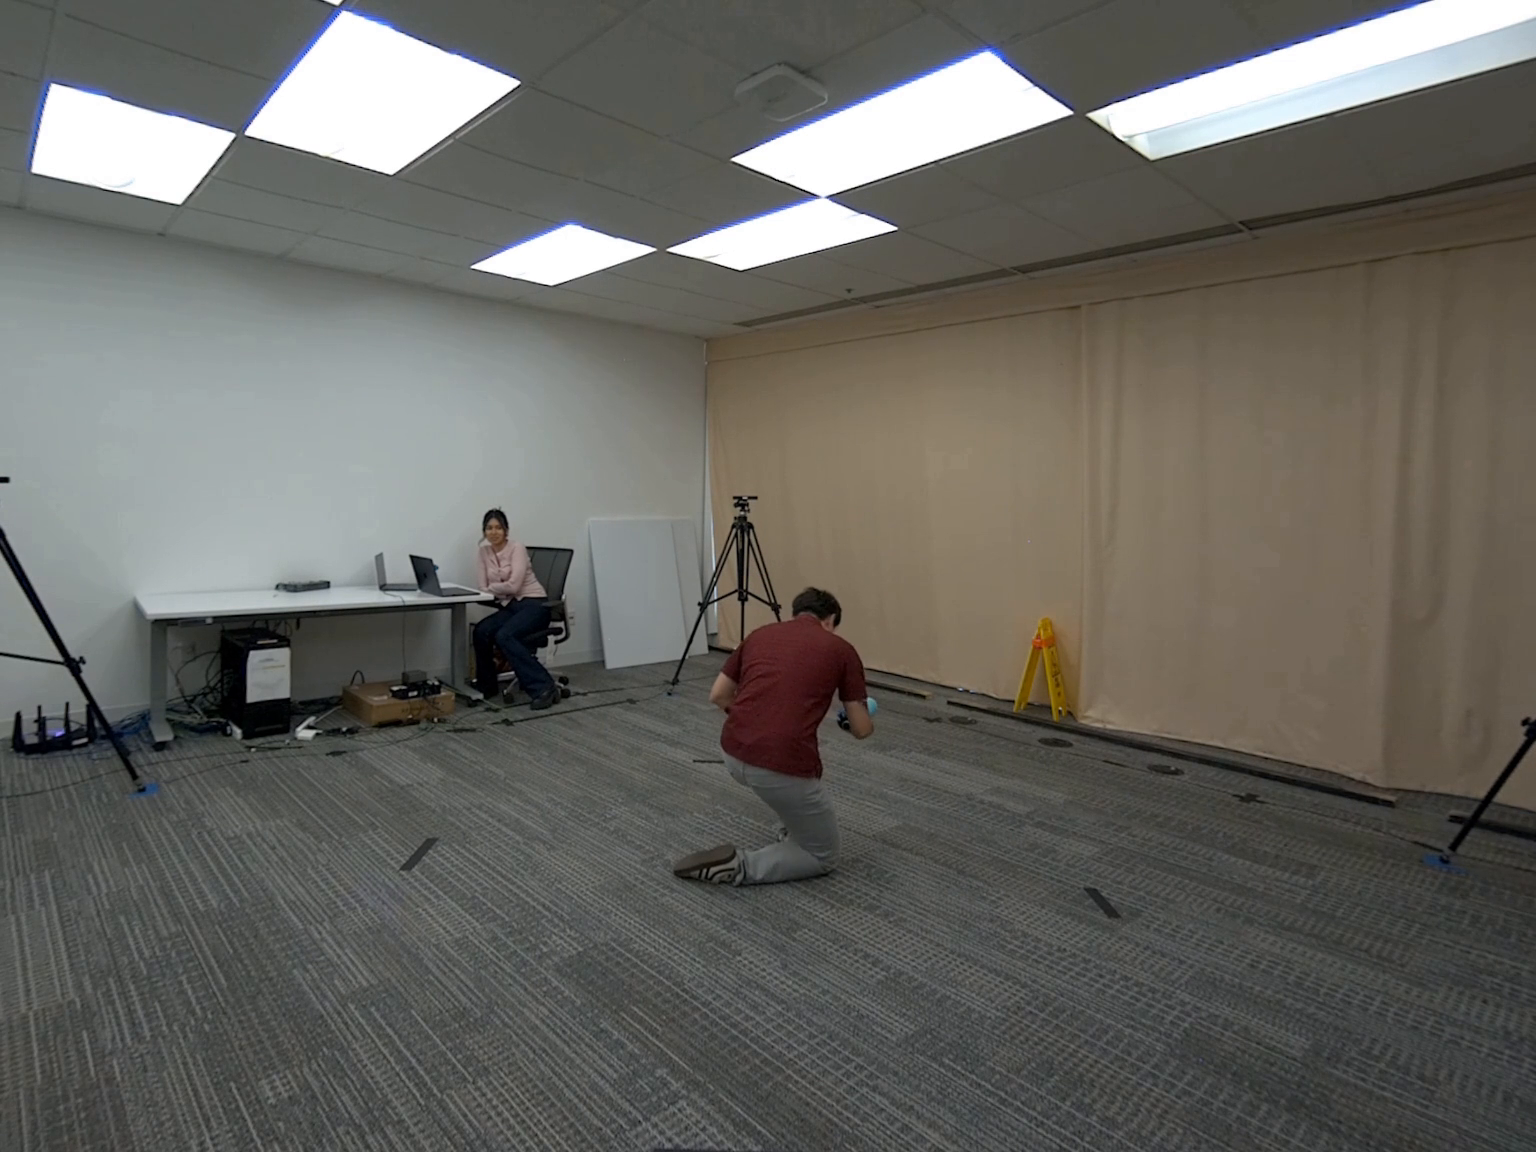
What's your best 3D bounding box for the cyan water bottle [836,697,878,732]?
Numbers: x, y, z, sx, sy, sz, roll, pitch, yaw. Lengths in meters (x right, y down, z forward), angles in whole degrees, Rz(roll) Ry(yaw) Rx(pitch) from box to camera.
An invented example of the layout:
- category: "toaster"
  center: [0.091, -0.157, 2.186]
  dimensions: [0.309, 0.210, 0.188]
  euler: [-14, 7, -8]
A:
- category: "cyan water bottle"
  center: [0.362, 0.593, 3.569]
  dimensions: [0.094, 0.092, 0.279]
  euler: [3, 7, 27]
